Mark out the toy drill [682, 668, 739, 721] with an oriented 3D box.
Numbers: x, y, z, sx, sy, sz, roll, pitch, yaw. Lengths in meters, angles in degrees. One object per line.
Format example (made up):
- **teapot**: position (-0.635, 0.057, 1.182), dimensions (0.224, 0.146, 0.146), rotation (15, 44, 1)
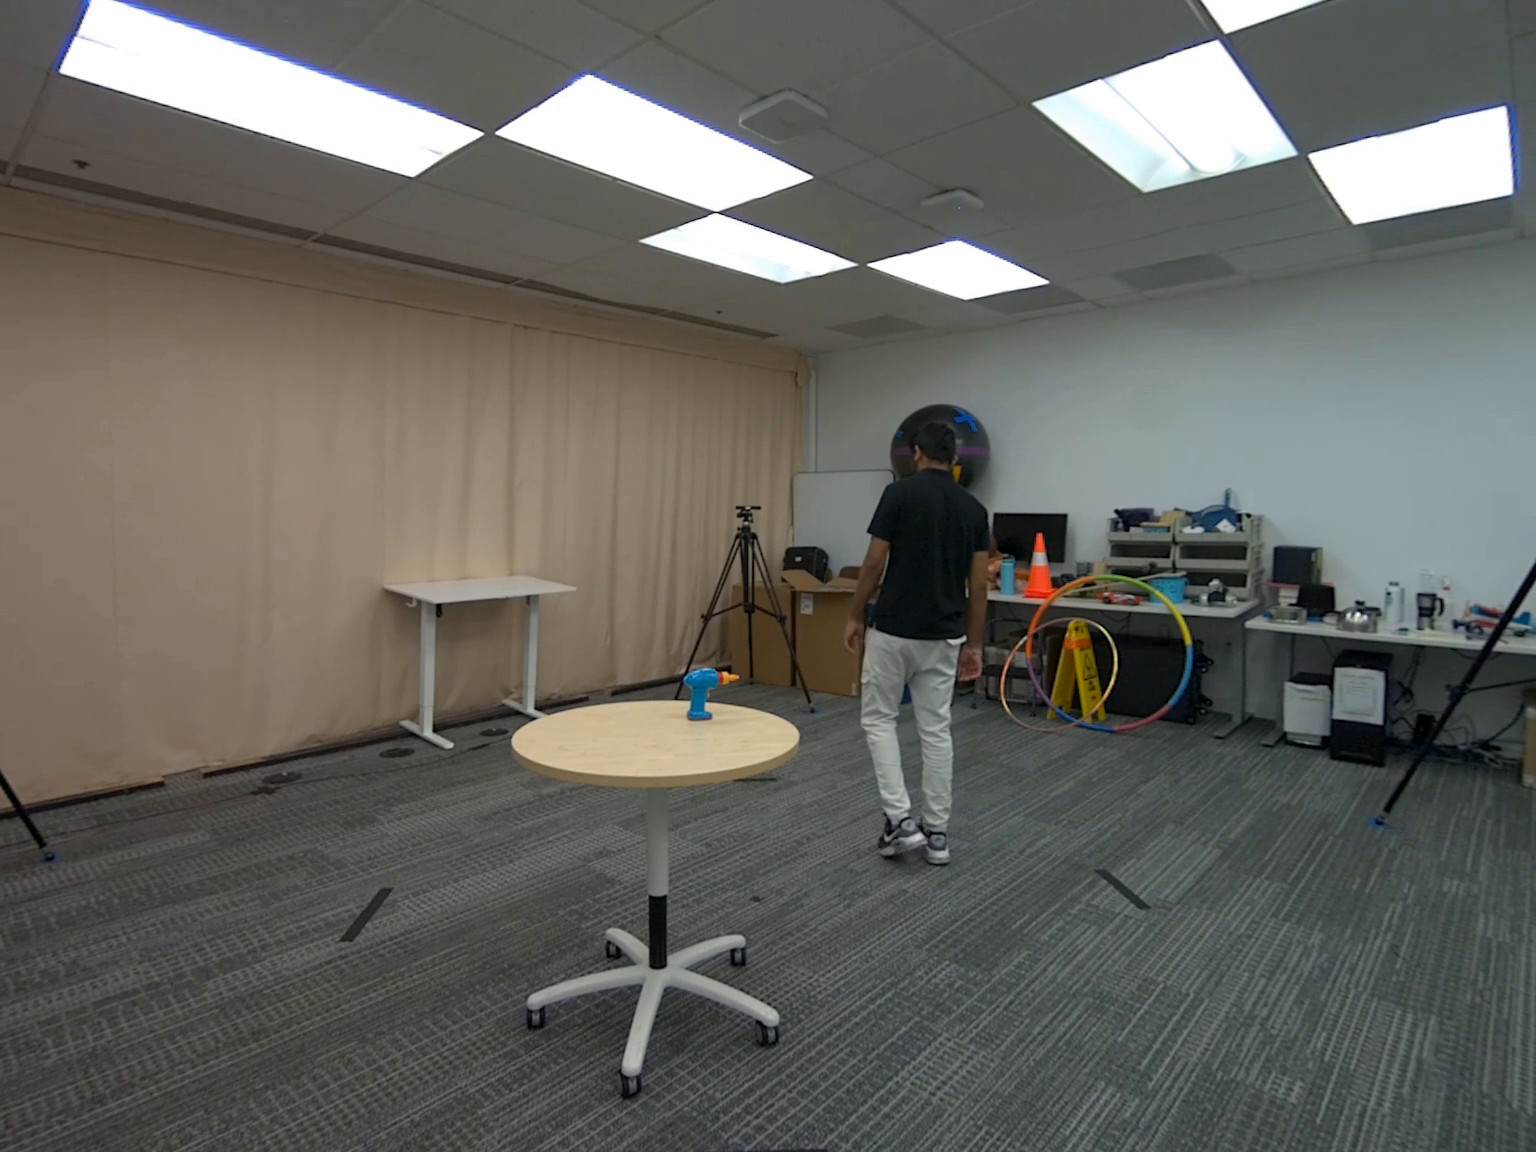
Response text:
- **toy drill**: position (-0.156, 0.339, 2.423), dimensions (0.166, 0.146, 0.062), rotation (-1, 3, -19)
